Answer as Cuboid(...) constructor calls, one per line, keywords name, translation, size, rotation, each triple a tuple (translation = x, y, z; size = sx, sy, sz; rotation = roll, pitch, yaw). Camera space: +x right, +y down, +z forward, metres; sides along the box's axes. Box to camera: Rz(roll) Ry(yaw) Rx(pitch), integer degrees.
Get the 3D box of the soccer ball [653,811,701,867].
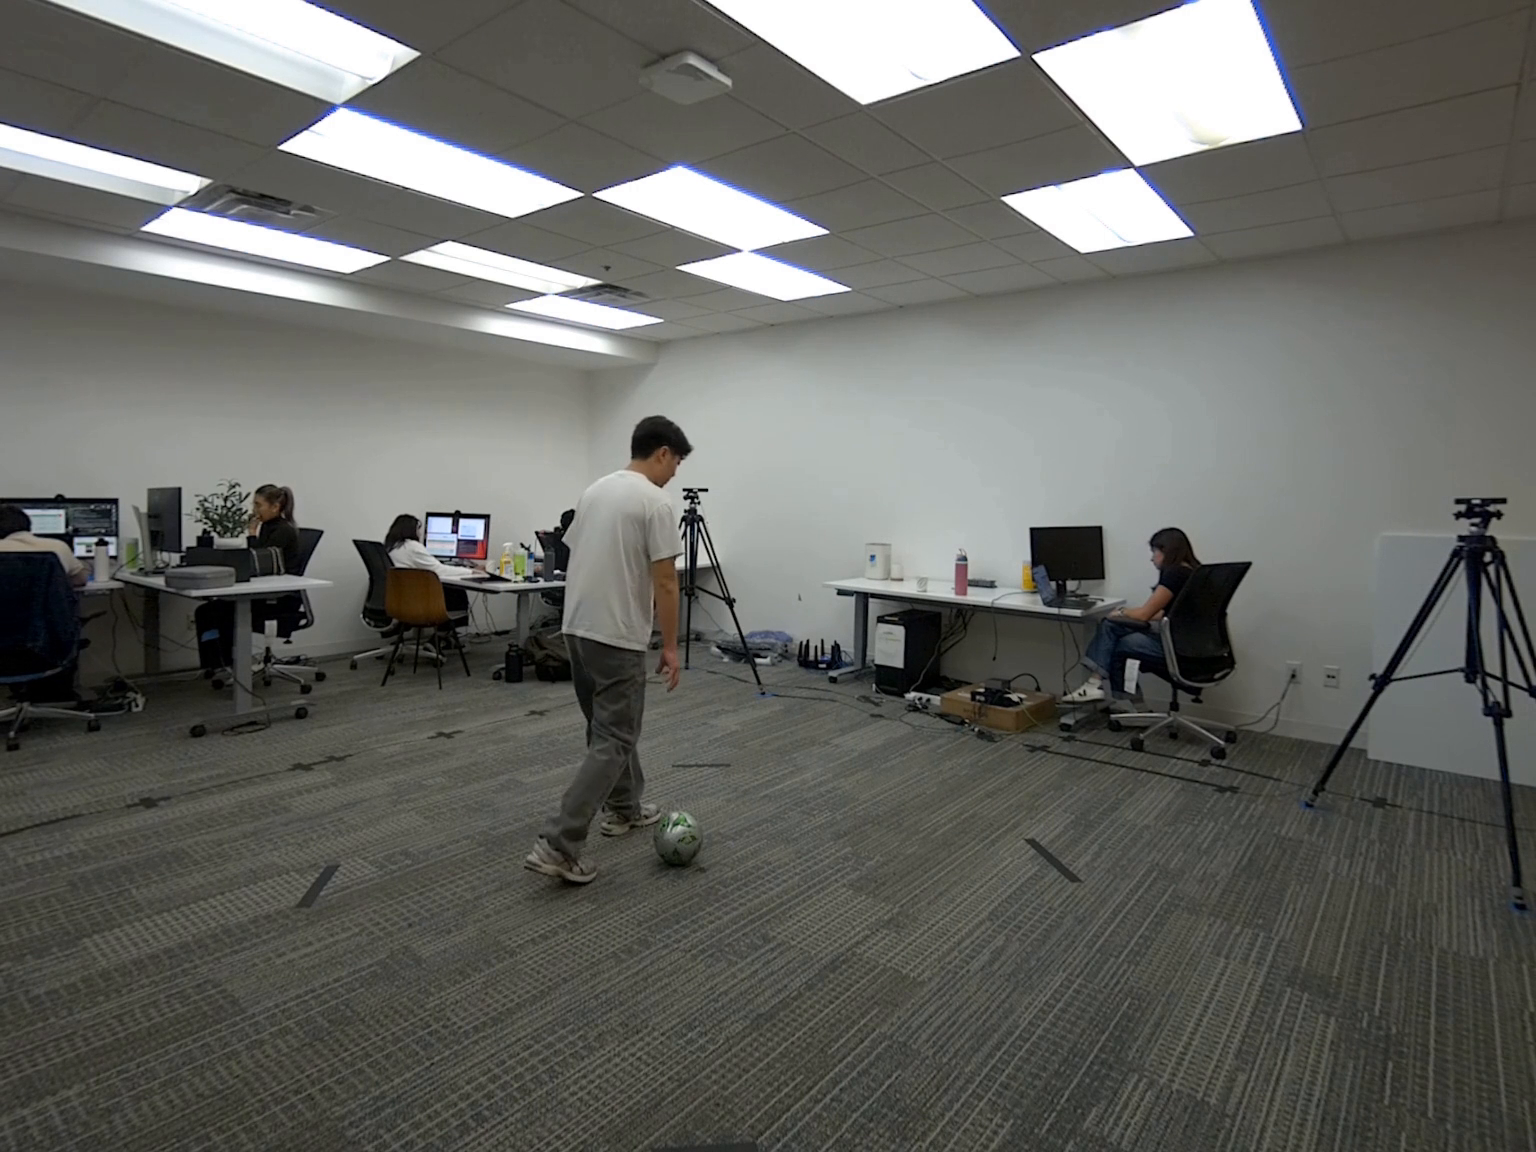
Cuboid(name="soccer ball", translation=(-0.330, 0.969, 3.162), size=(0.187, 0.187, 0.188), rotation=(1, 4, -2))
